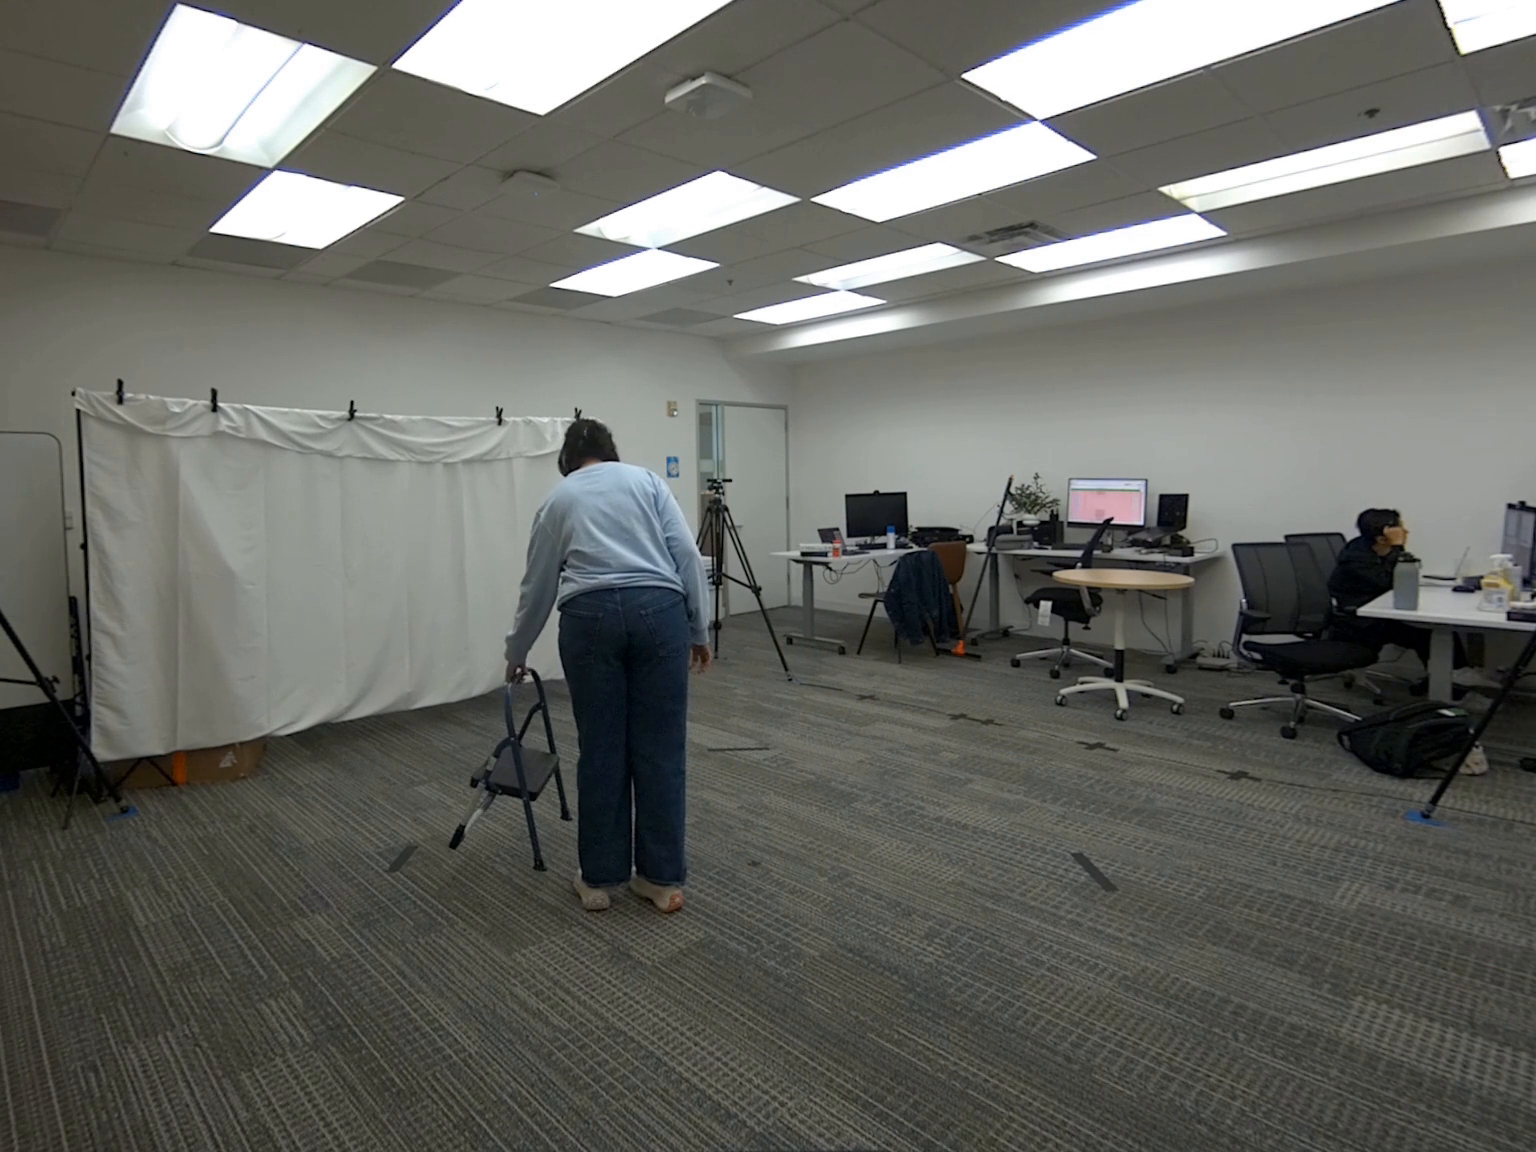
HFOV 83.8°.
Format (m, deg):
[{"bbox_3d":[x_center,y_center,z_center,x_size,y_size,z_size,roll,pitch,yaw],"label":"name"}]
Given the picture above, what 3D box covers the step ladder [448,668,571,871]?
[{"bbox_3d":[-0.887,0.665,3.132,0.350,0.603,0.432,12,7,0],"label":"step ladder"}]
